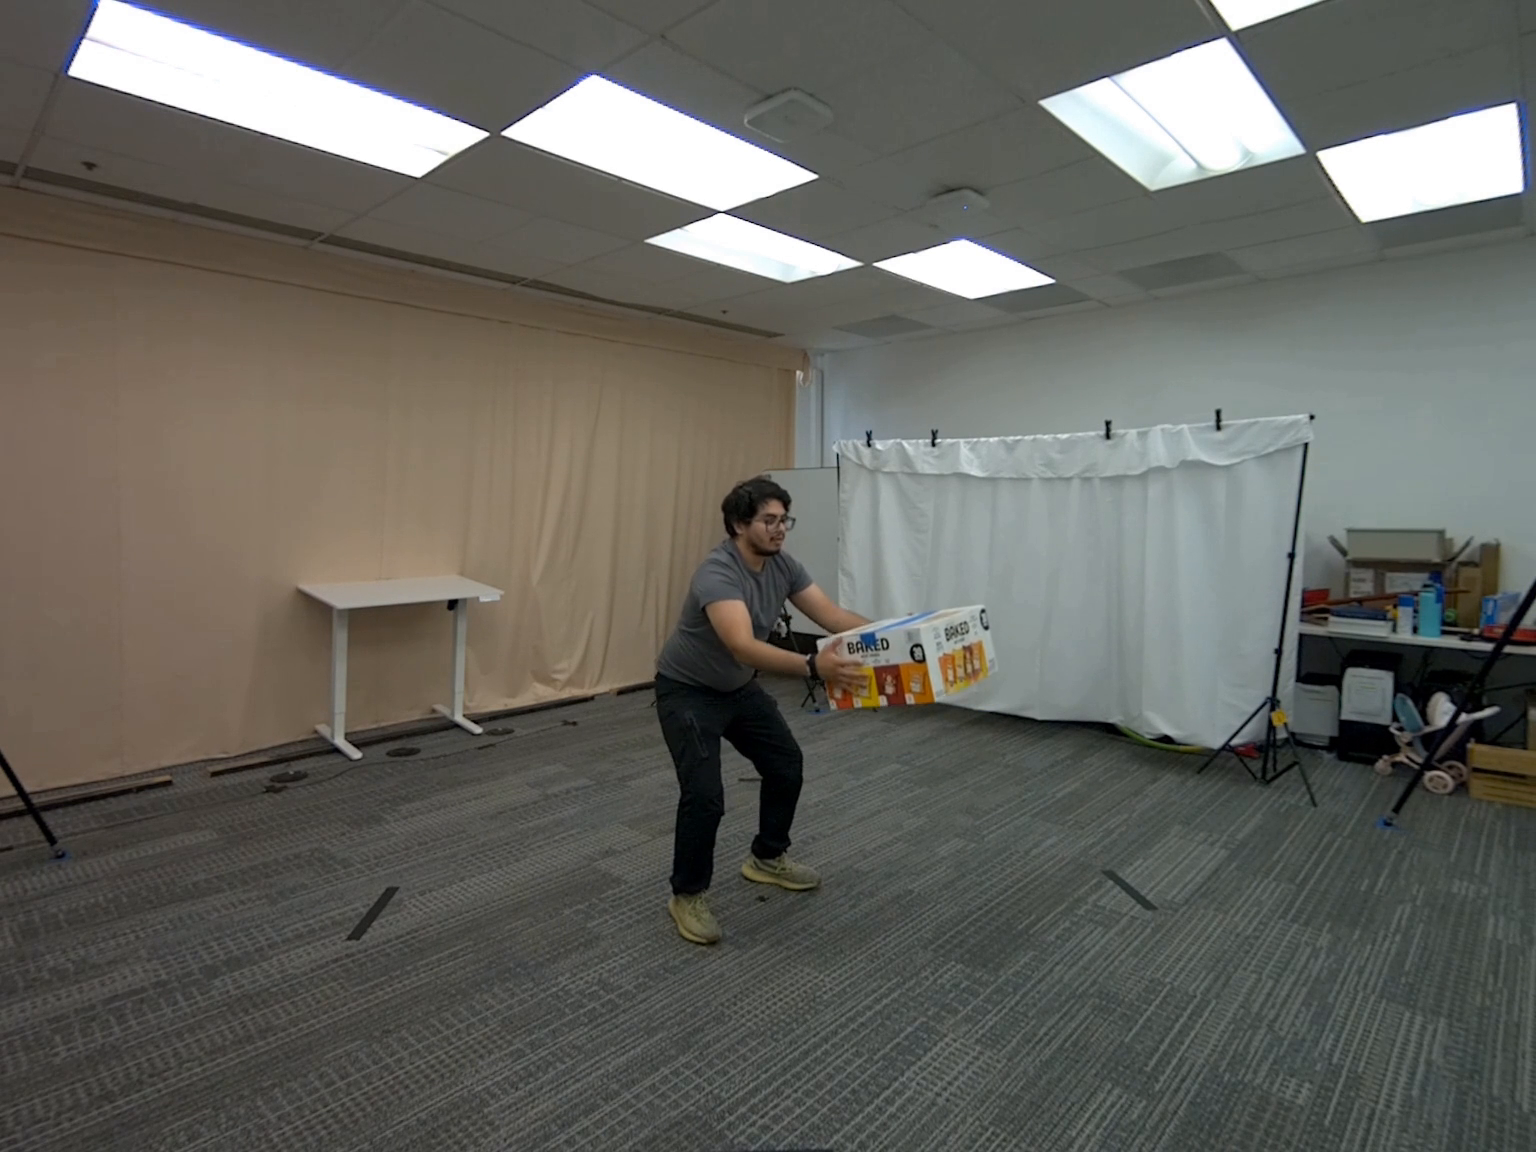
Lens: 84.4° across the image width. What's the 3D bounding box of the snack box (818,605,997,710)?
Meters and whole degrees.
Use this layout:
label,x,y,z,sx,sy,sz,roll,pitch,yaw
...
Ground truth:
label,x,y,z,sx,sy,sz,roll,pitch,yaw
snack box,0.414,0.241,2.451,0.349,0.206,0.394,-11,-1,39
